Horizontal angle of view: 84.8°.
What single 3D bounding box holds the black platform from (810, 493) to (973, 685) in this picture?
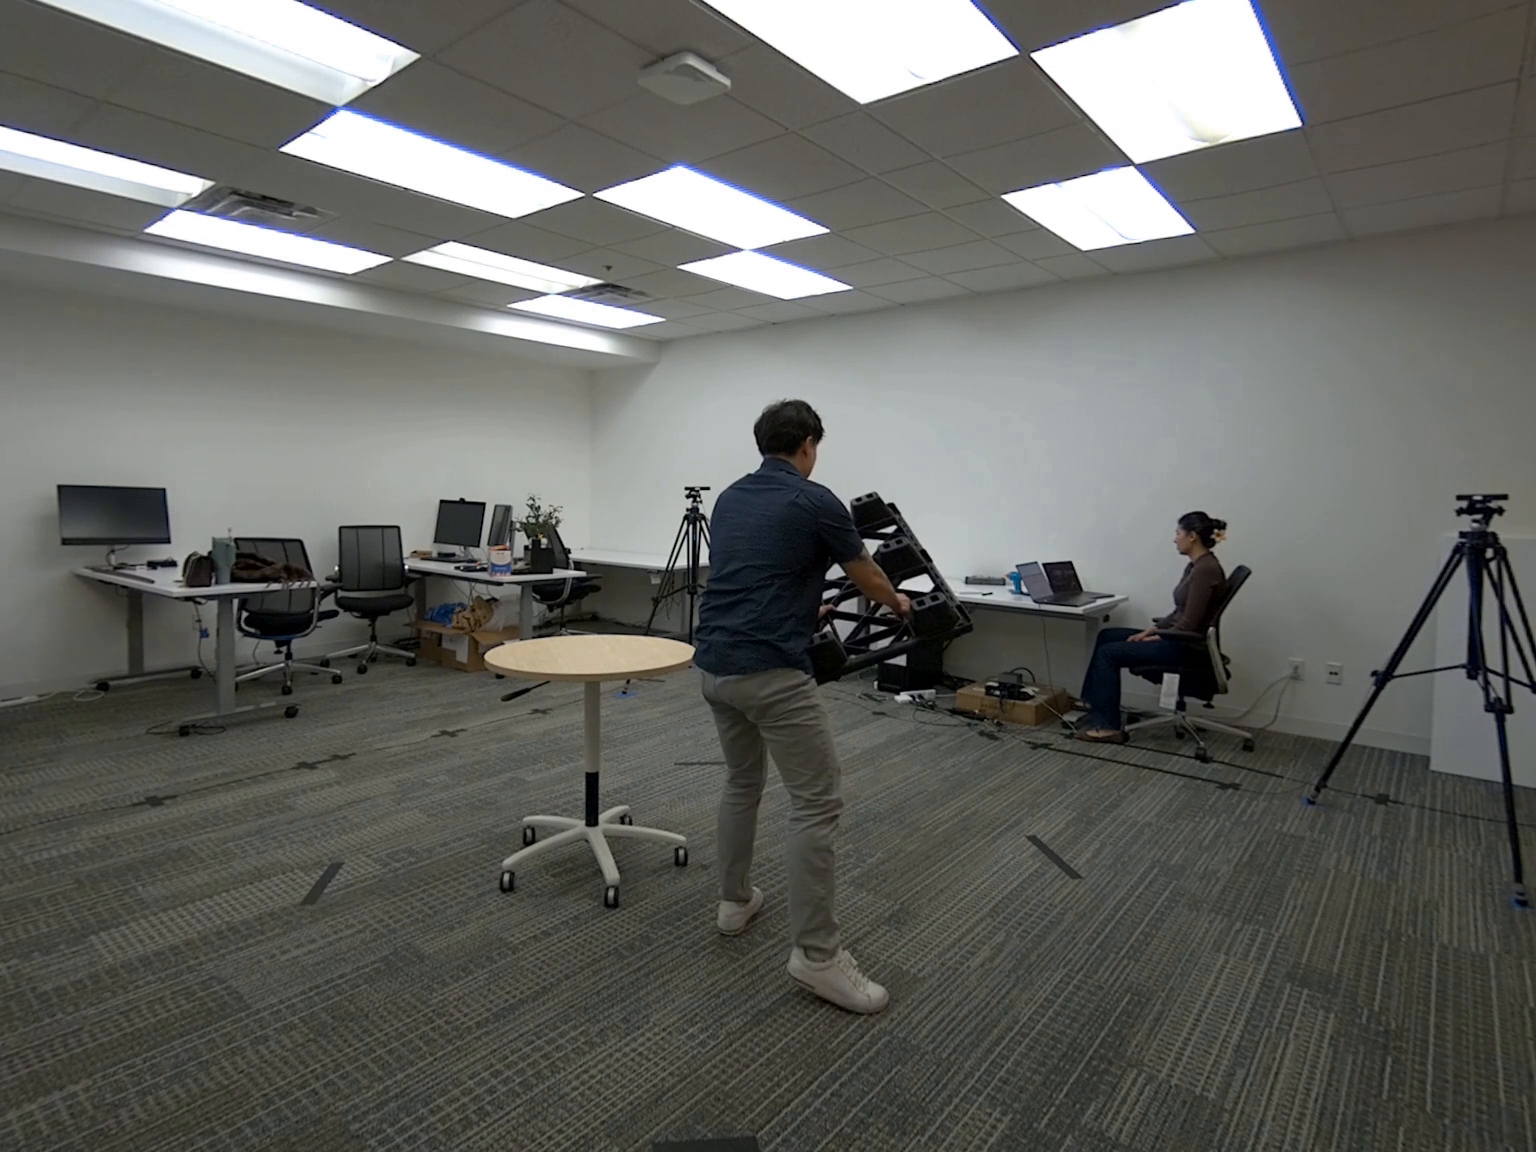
[{"bbox_3d":[0.282,-0.001,2.999,0.606,0.138,0.833,-21,34,1],"label":"black platform"}]
